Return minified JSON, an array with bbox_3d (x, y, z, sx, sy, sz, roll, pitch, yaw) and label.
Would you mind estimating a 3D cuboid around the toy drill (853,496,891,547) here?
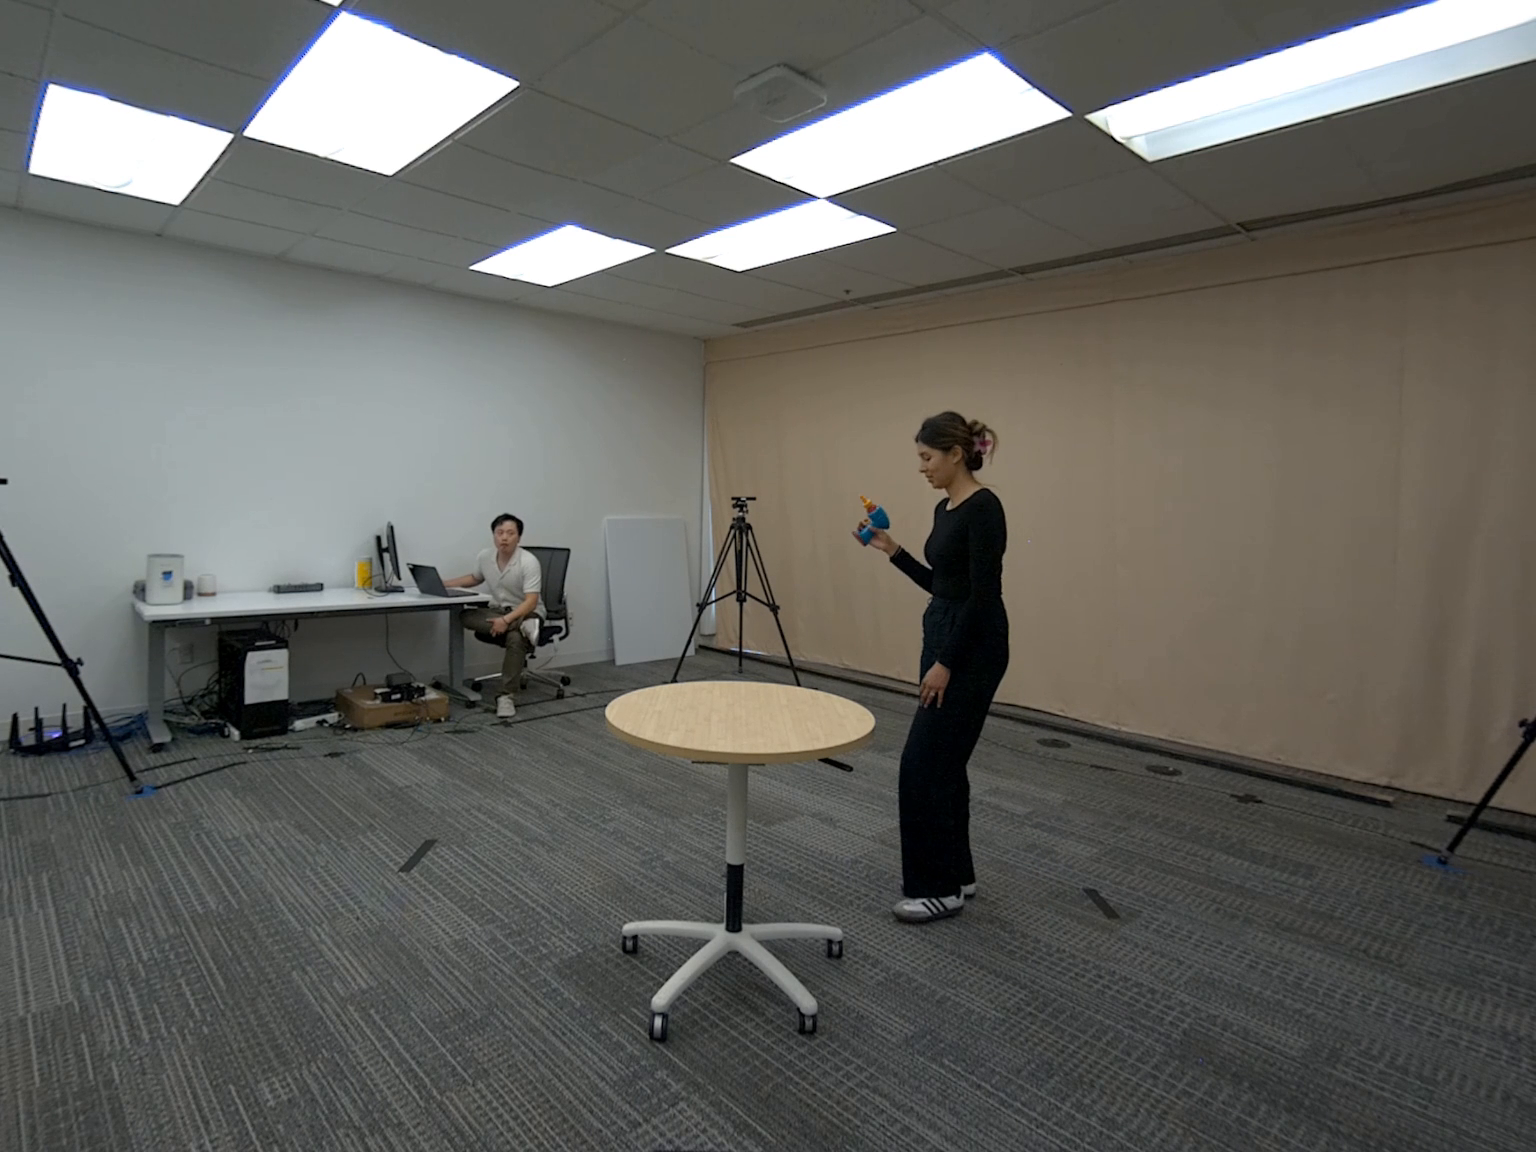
[{"bbox_3d":[0.376,-0.202,3.114,0.167,0.146,0.062,47,-4,-14],"label":"toy drill"}]
